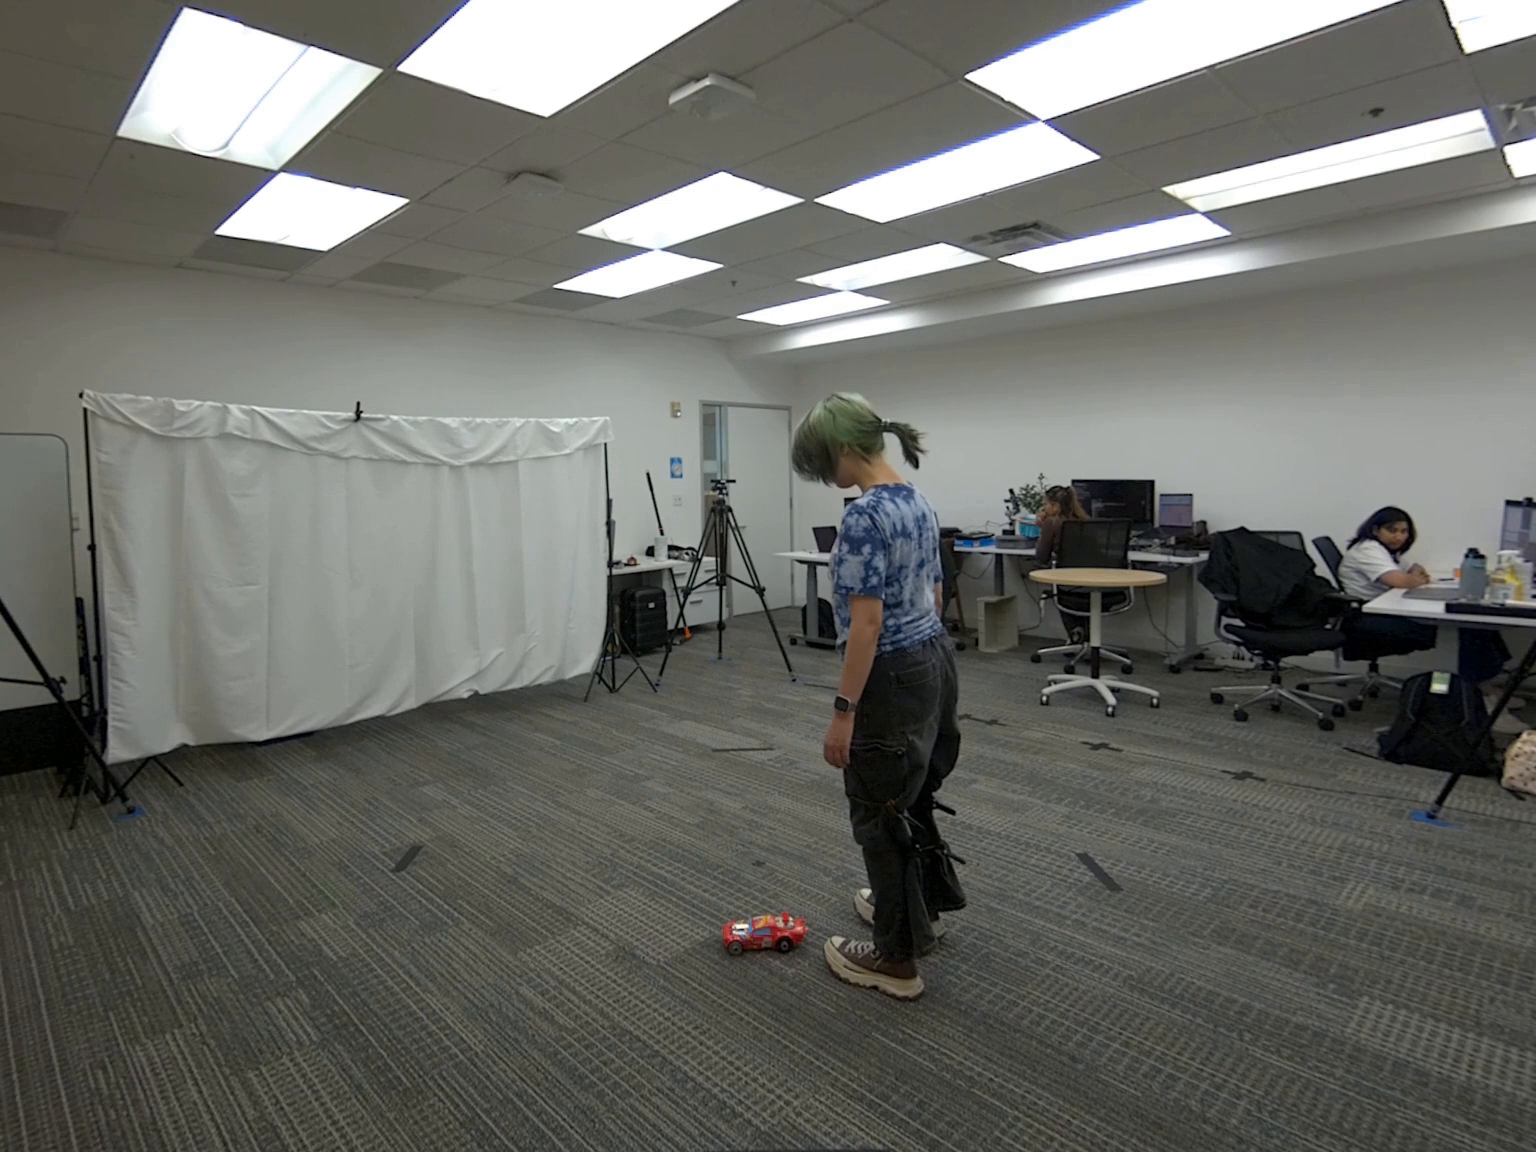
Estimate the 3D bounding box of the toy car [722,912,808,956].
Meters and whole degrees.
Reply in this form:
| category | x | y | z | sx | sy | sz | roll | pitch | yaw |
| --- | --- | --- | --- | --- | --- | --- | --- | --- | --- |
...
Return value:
| category | x | y | z | sx | sy | sz | roll | pitch | yaw |
| --- | --- | --- | --- | --- | --- | --- | --- | --- | --- |
| toy car | -0.001 | 1.079 | 2.565 | 0.254 | 0.083 | 0.131 | -13 | 5 | -2 |
